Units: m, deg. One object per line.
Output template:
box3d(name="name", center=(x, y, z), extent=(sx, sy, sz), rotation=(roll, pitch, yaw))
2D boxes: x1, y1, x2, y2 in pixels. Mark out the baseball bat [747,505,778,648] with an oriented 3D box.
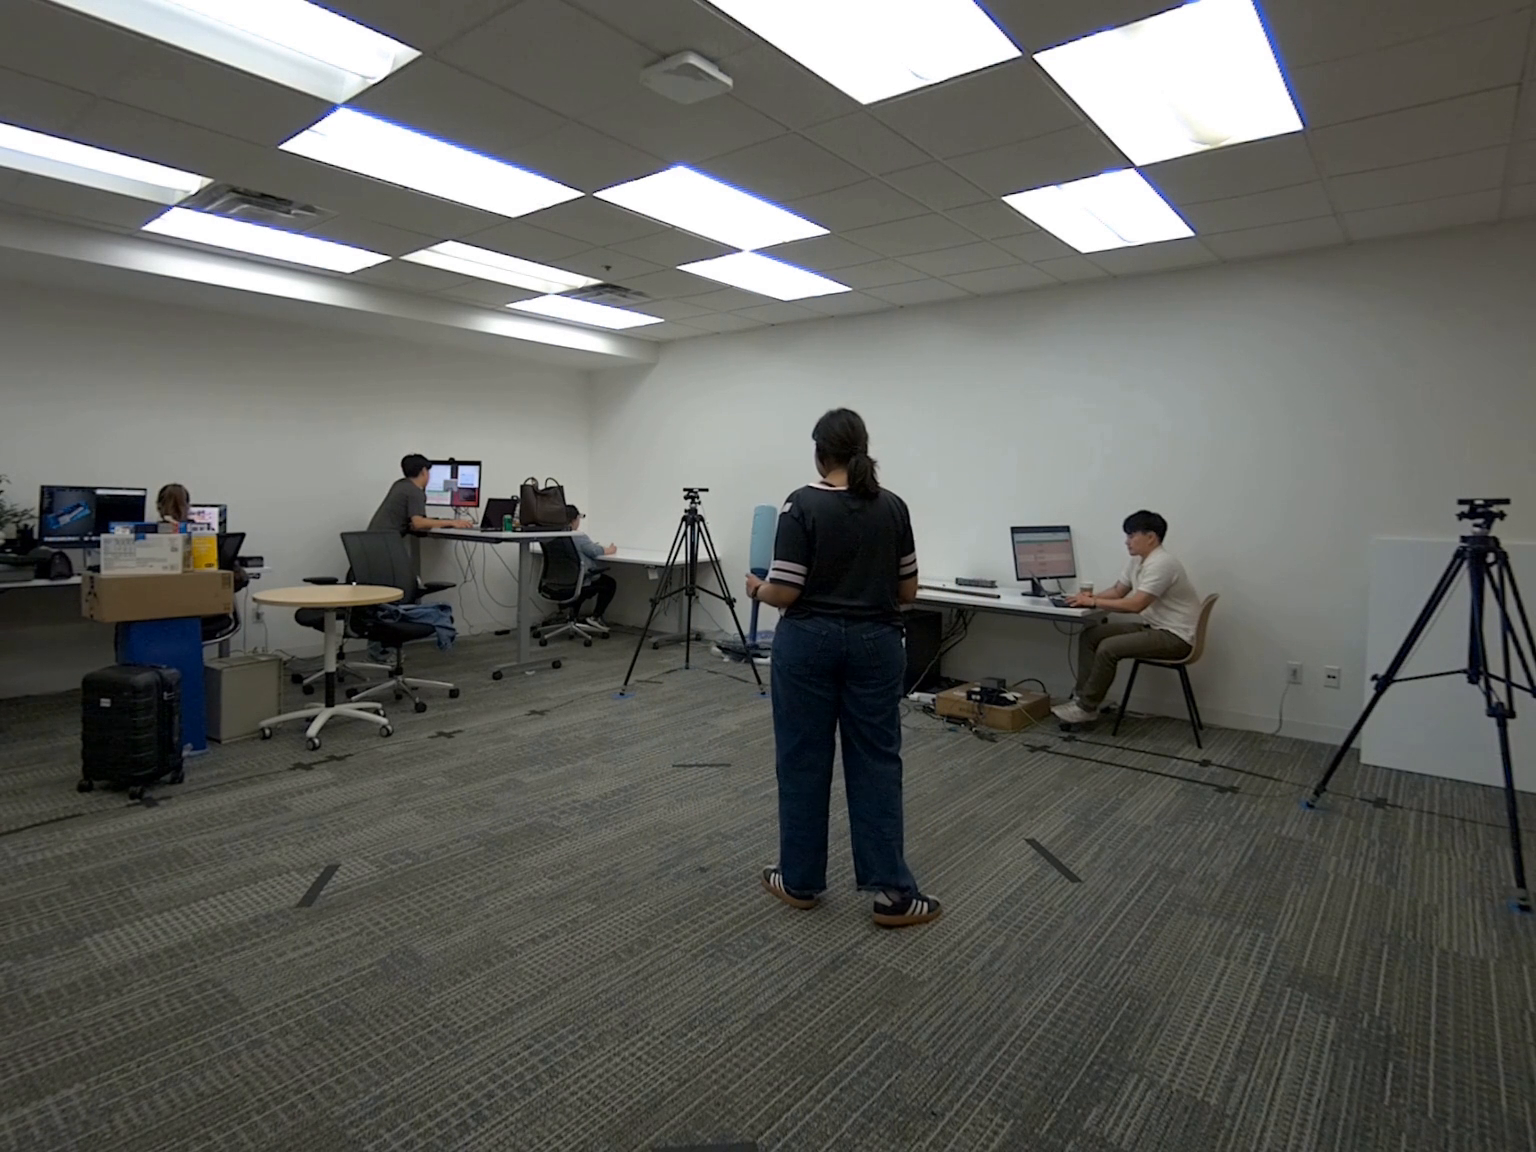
box3d(name="baseball bat", center=(-0.025, 0.003, 3.080), extent=(0.089, 0.551, 0.088), rotation=(3, -16, -1))
